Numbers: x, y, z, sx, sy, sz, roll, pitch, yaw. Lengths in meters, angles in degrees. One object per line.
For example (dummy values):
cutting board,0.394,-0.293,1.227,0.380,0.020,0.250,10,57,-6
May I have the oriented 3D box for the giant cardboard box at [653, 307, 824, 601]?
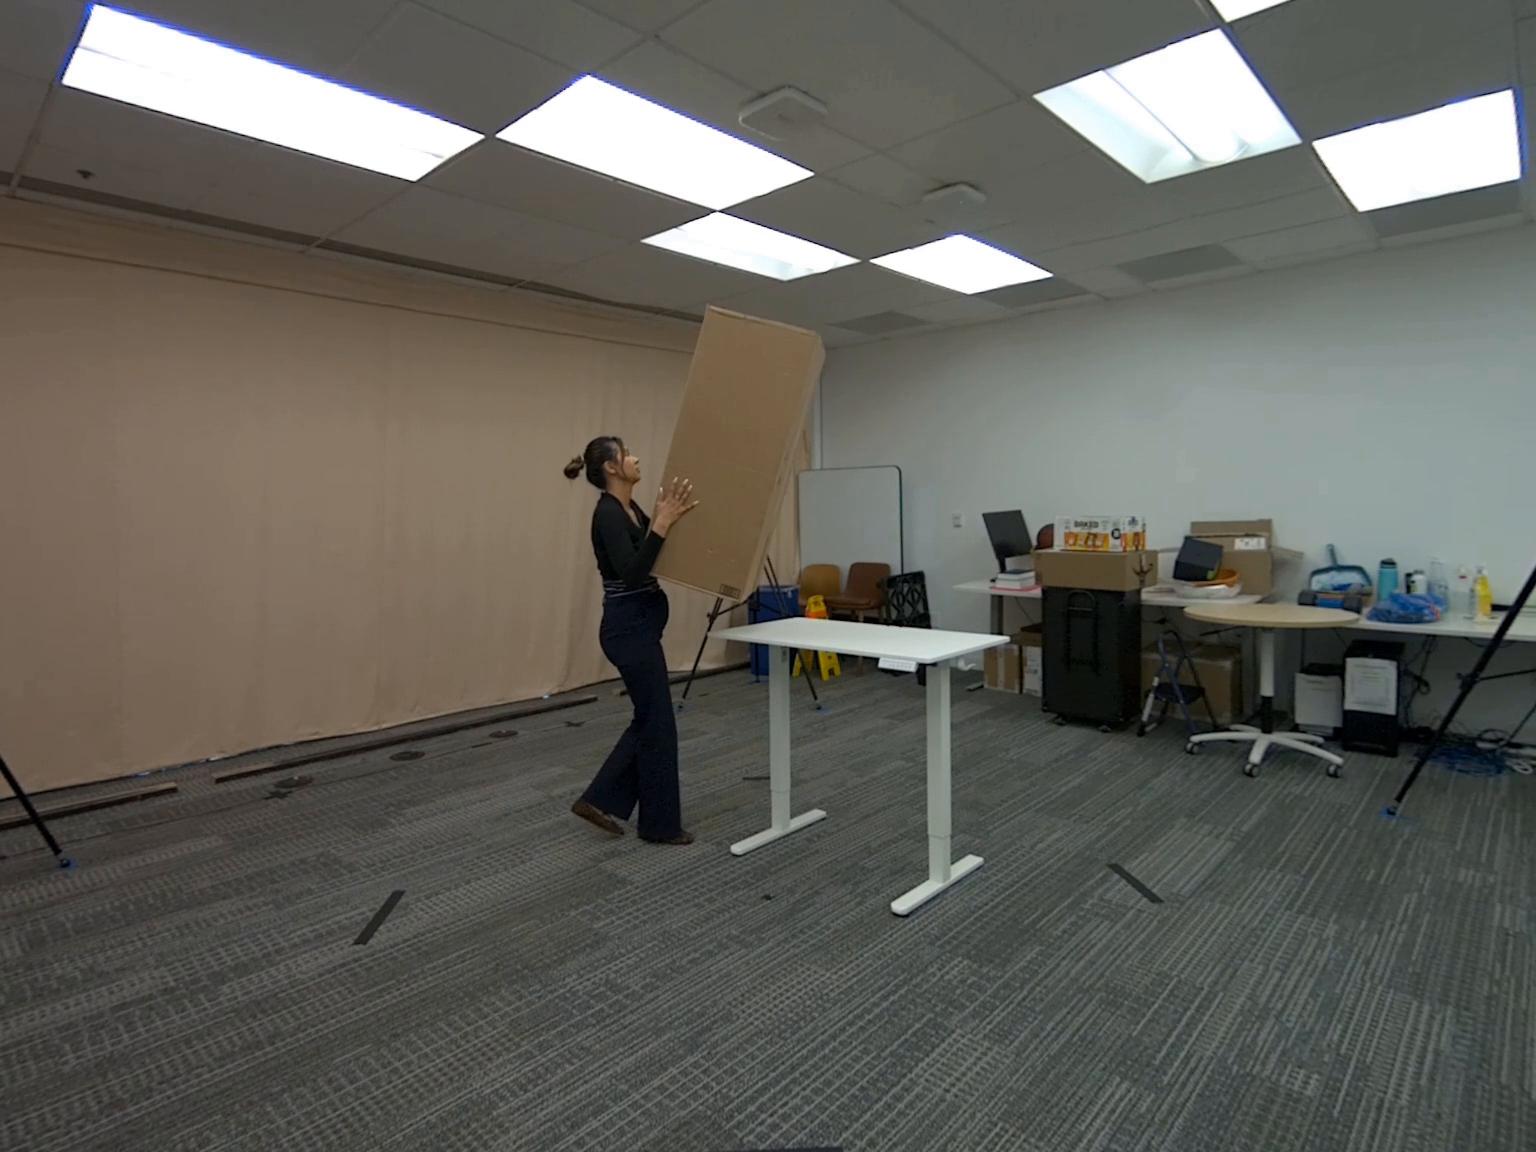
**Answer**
giant cardboard box,-0.133,-0.469,3.381,0.430,1.023,0.574,17,8,6
